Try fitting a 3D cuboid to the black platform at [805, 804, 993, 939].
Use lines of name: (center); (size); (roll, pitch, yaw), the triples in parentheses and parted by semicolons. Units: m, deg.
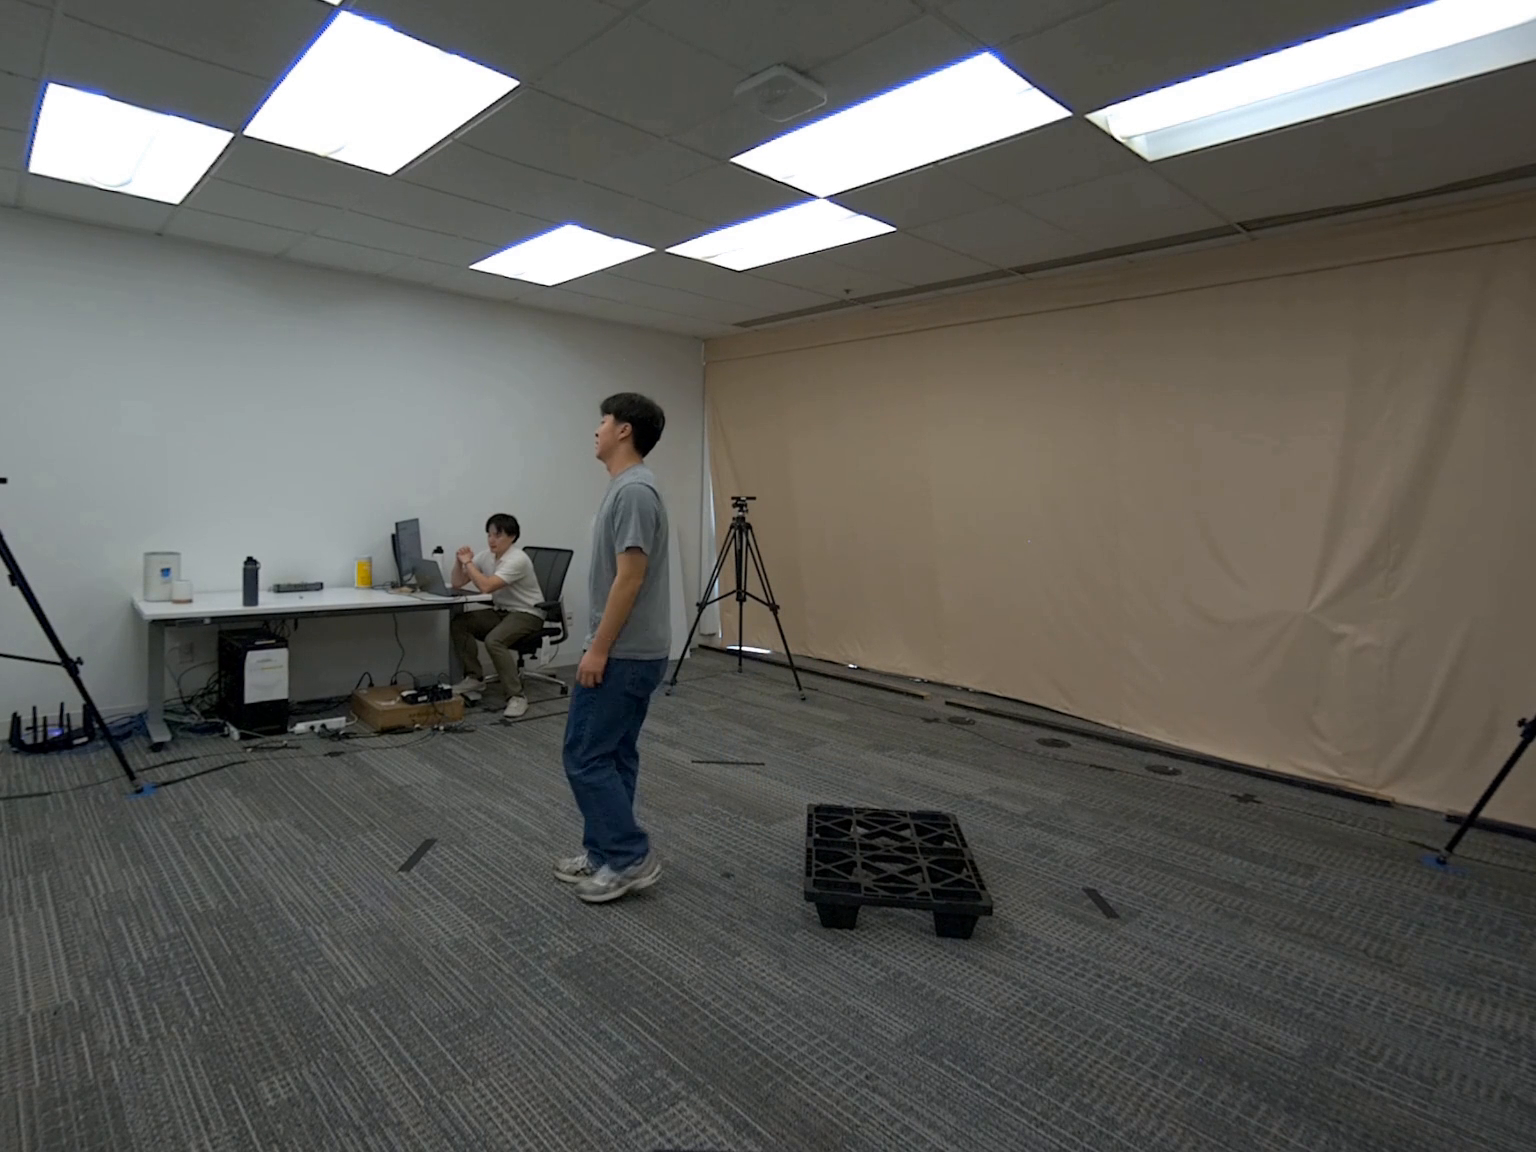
black platform: (0.426, 1.052, 3.069); (0.608, 0.143, 0.804); (1, 5, 4)
